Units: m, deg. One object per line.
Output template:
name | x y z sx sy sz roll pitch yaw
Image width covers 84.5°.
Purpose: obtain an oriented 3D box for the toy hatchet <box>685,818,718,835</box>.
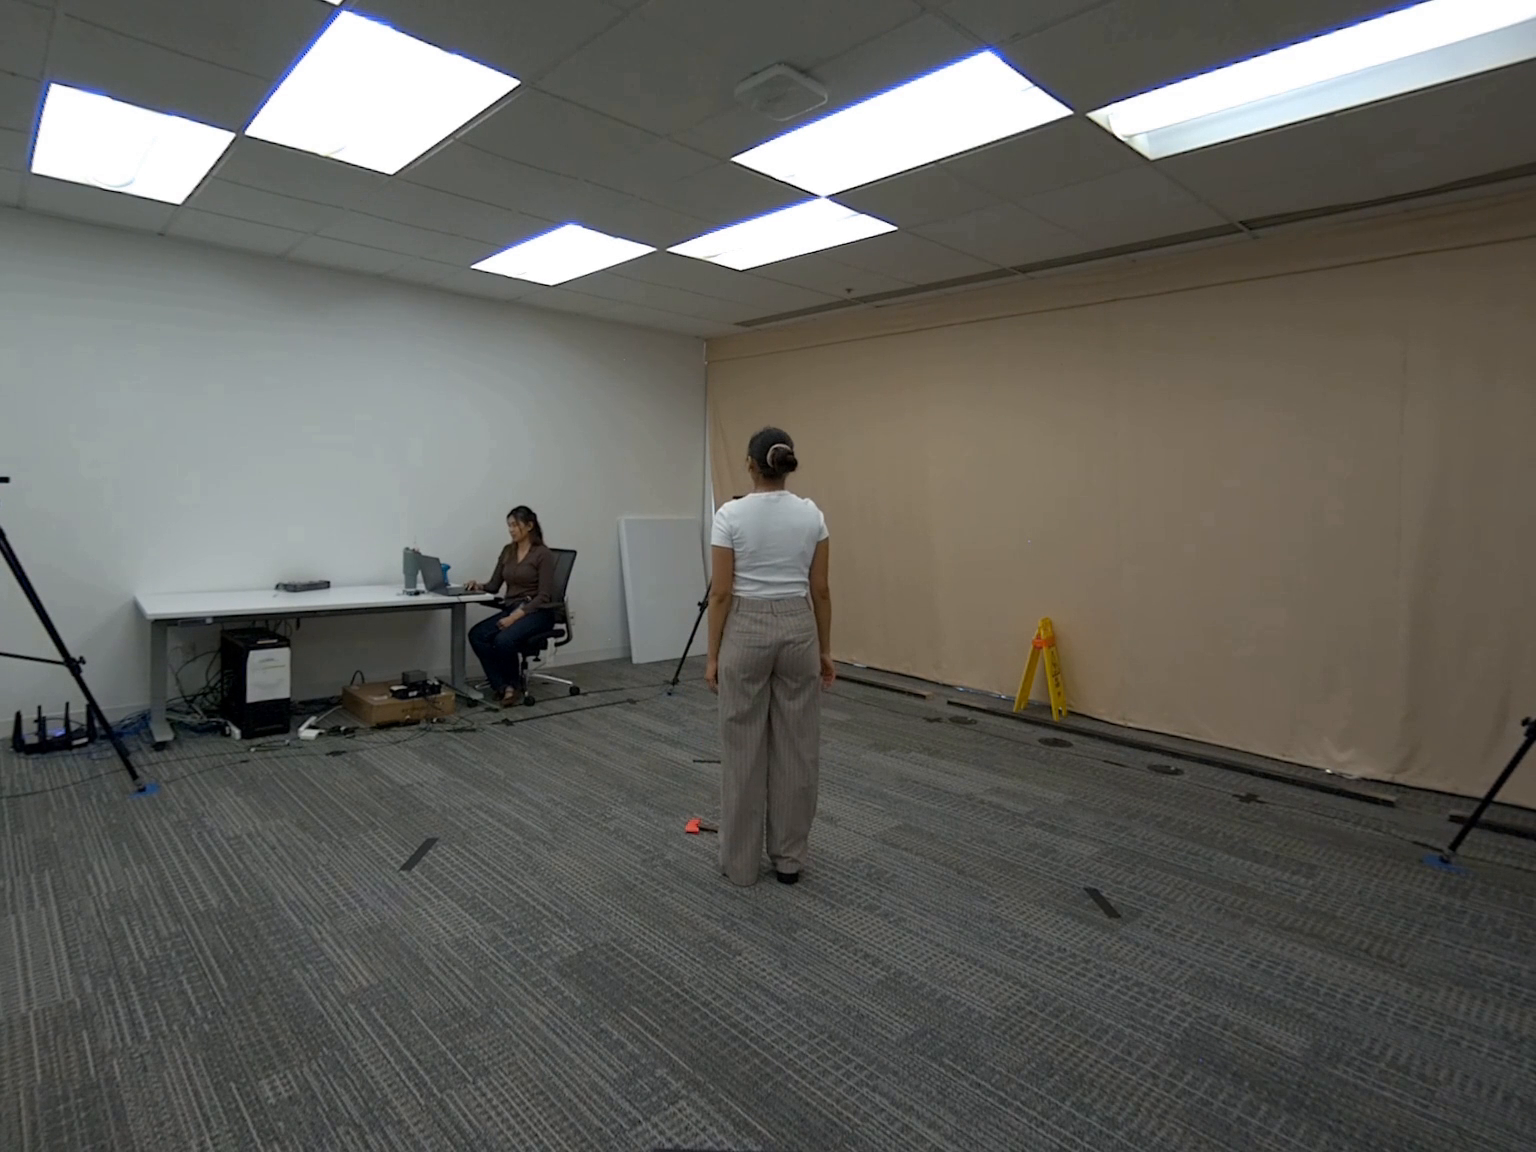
toy hatchet | -0.244 1.059 3.467 0.277 0.029 0.128 7 6 41
